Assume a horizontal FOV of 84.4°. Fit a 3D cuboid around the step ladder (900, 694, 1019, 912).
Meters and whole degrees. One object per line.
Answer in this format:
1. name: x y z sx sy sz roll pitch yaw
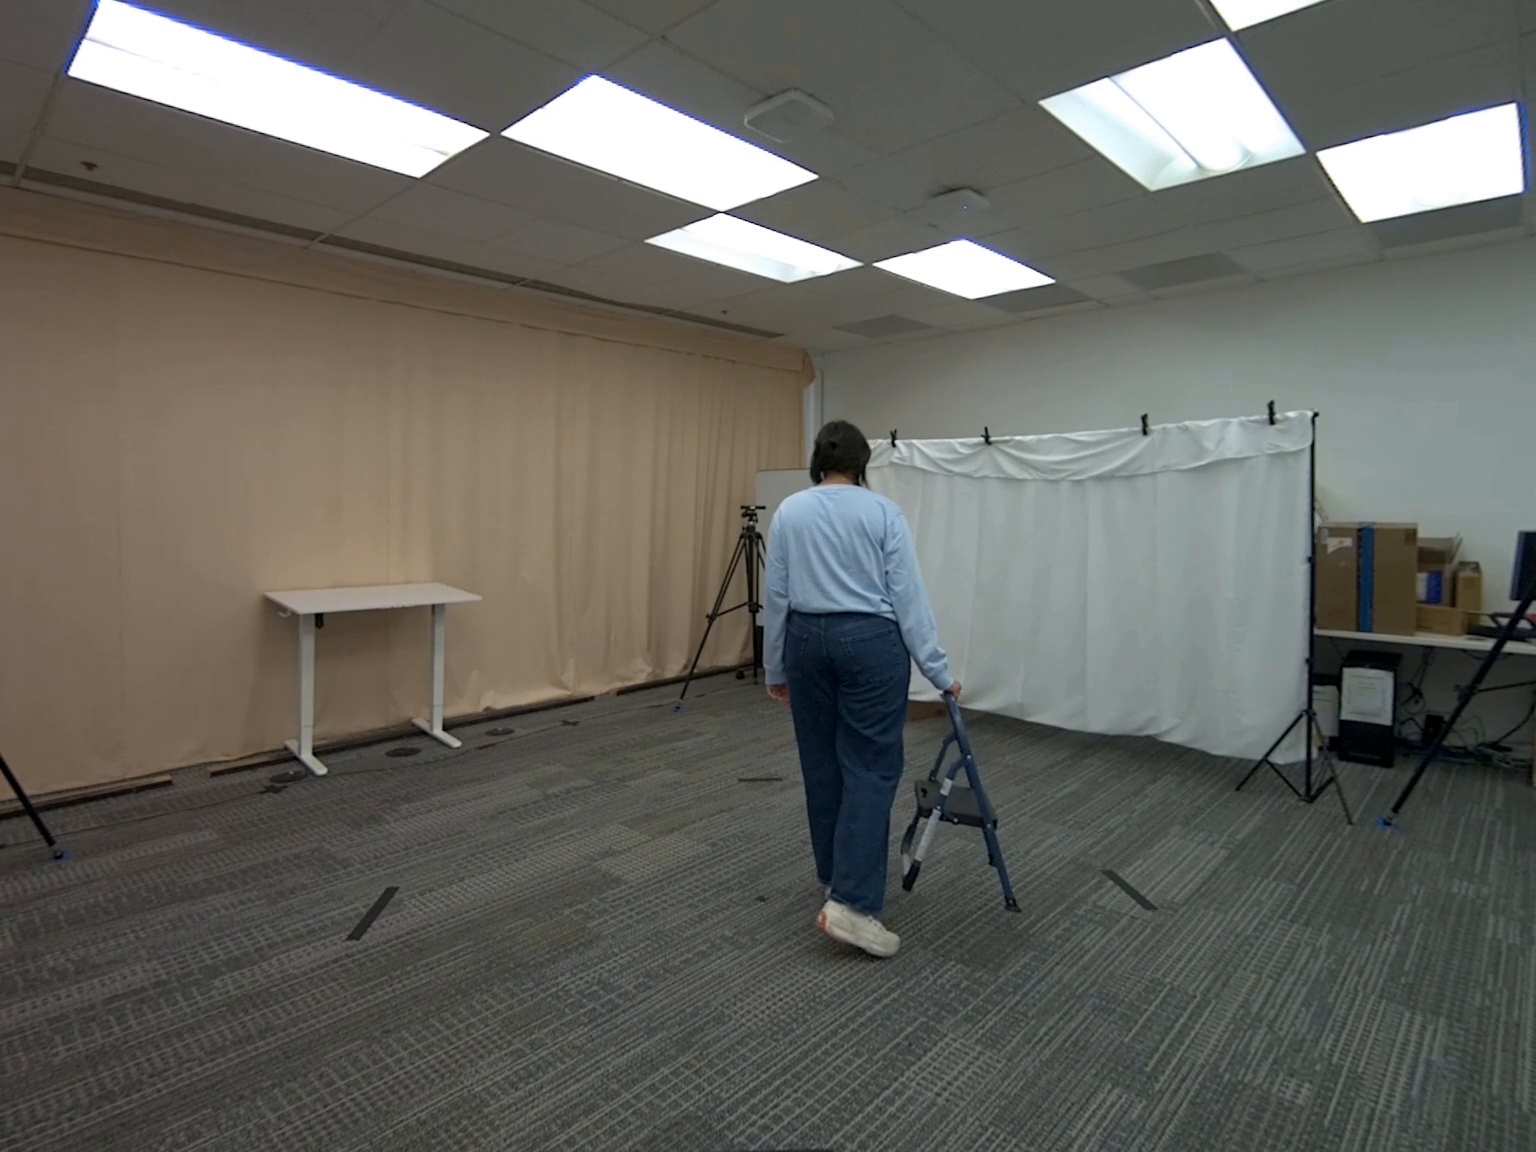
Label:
1. step ladder: 0.657 0.701 2.773 0.353 0.606 0.425 5 0 9
